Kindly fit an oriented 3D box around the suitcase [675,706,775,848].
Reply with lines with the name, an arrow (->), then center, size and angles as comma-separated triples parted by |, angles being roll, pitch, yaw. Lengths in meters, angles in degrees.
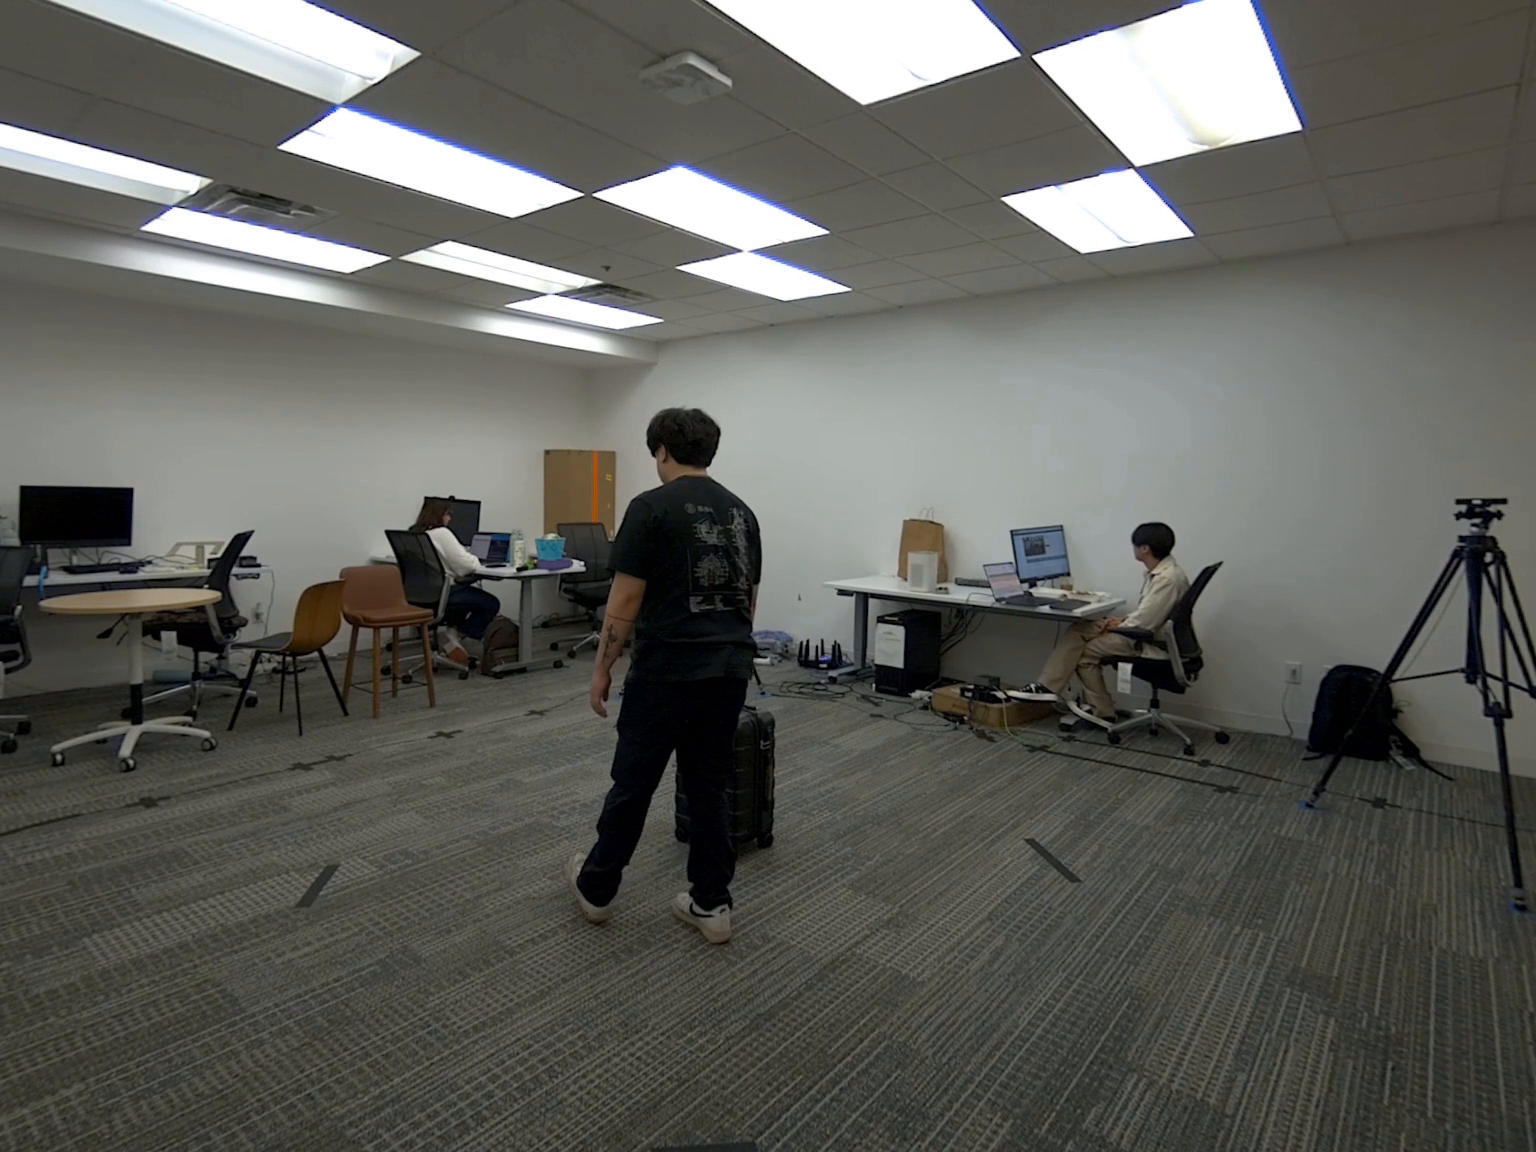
suitcase -> -0.173, 0.771, 3.347 | 0.388, 0.548, 0.240 | 5, 3, 41
